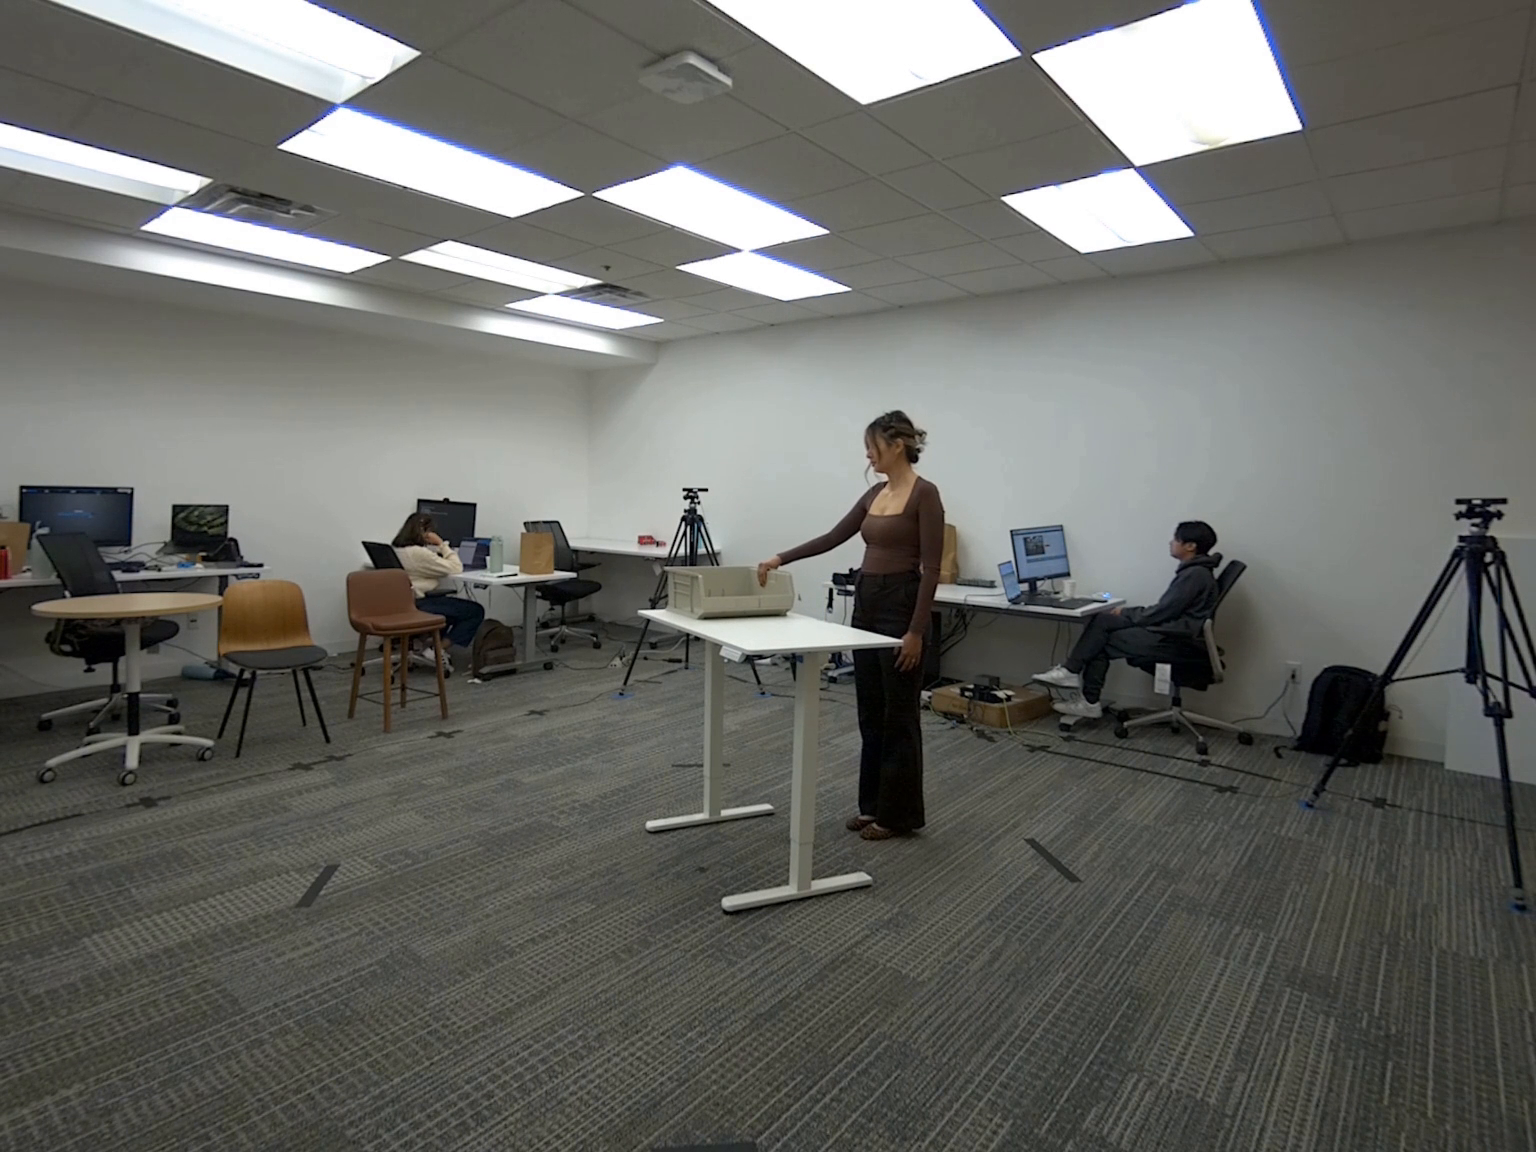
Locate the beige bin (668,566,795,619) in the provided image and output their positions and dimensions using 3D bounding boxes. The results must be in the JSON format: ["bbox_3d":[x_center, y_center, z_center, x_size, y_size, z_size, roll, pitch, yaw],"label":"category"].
[{"bbox_3d":[-0.174,0.066,3.511,0.412,0.188,0.388,-2,4,-28],"label":"beige bin"}]
